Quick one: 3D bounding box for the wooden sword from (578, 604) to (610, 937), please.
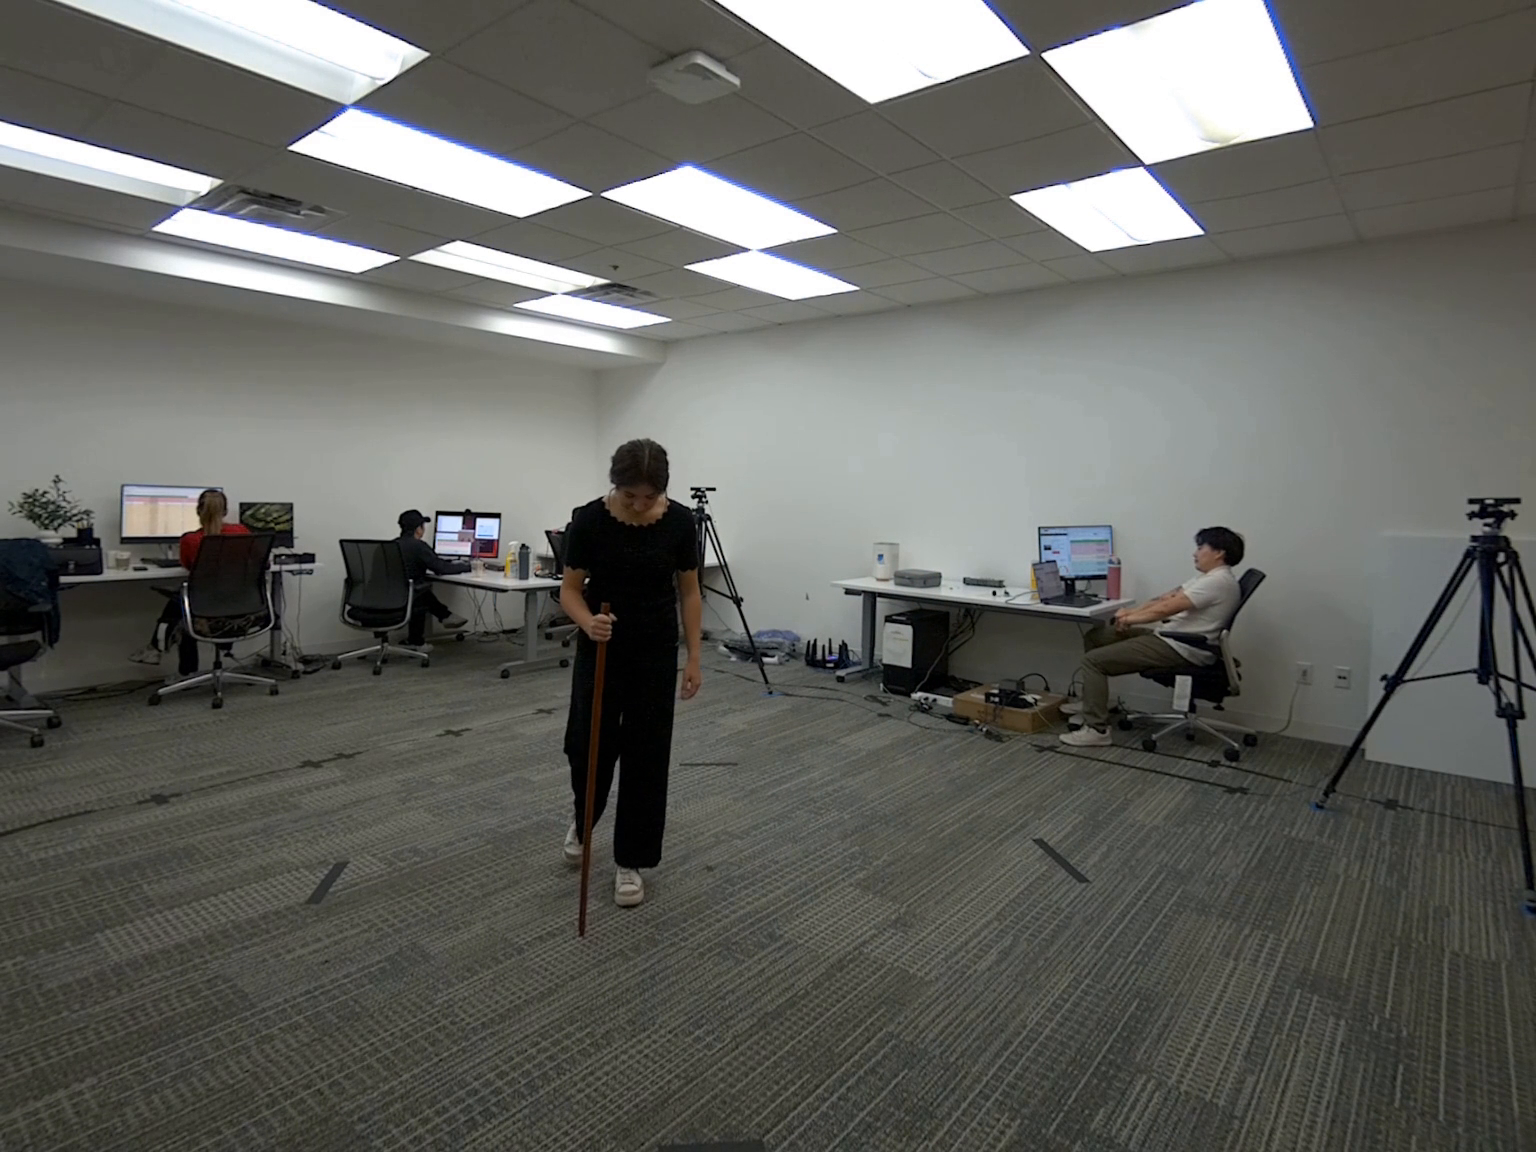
[{"bbox_3d":[-0.551,0.610,2.633,0.051,1.024,0.024,6,1,4],"label":"wooden sword"}]
